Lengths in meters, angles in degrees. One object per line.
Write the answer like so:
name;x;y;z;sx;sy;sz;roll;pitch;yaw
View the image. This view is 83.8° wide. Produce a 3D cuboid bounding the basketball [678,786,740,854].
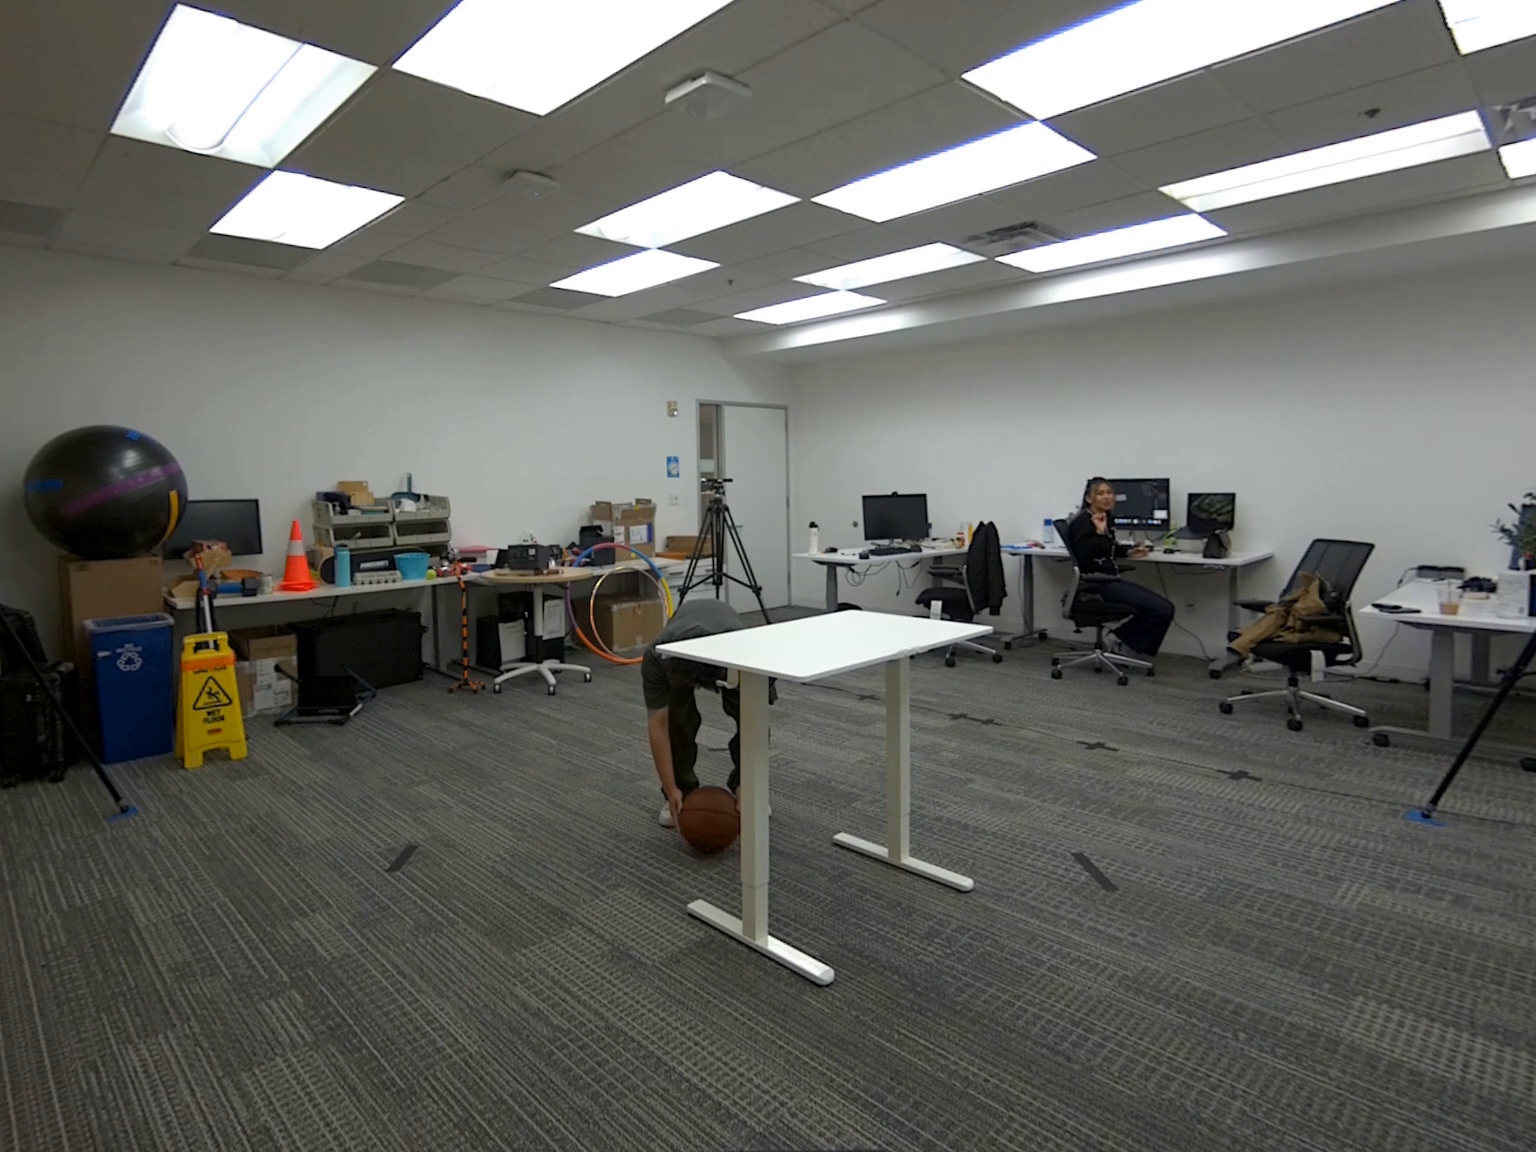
basketball;-0.211;0.911;3.219;0.236;0.235;0.237;-1;5;-2
